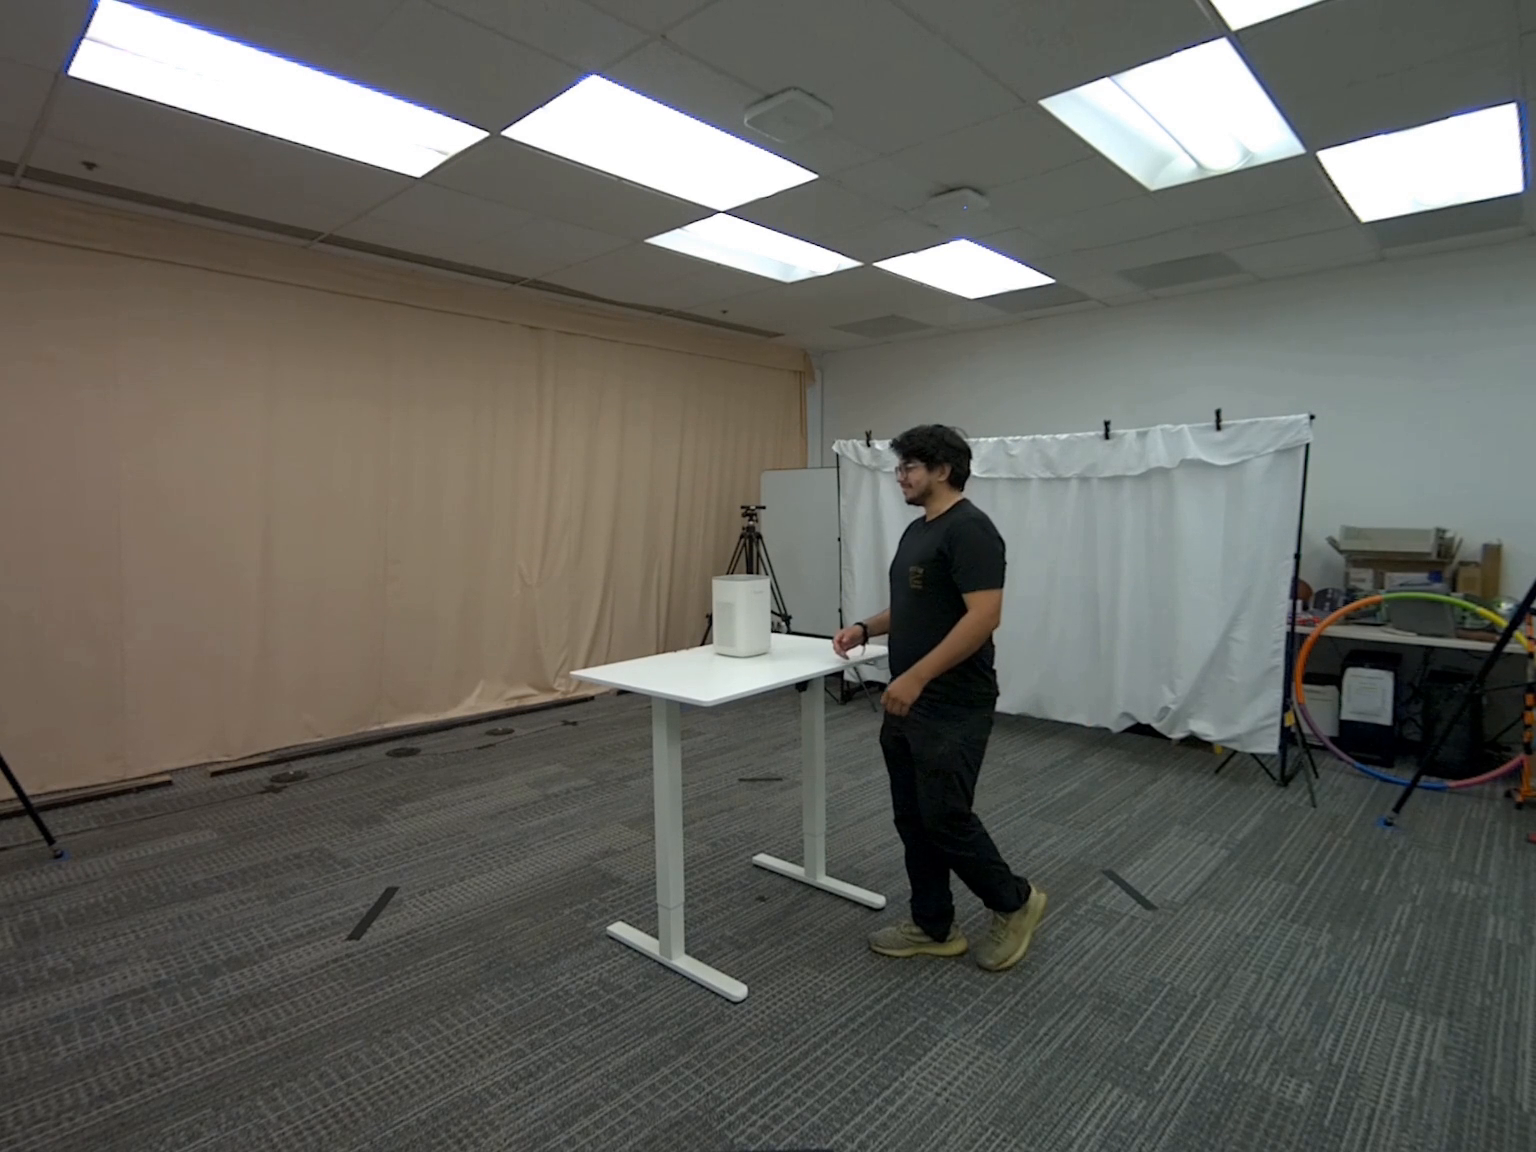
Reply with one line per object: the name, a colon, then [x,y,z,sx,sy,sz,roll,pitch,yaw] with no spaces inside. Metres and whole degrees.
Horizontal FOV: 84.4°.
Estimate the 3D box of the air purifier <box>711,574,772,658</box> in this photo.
air purifier: [-0.087,0.135,2.887,0.177,0.264,0.166,3,6,43]
